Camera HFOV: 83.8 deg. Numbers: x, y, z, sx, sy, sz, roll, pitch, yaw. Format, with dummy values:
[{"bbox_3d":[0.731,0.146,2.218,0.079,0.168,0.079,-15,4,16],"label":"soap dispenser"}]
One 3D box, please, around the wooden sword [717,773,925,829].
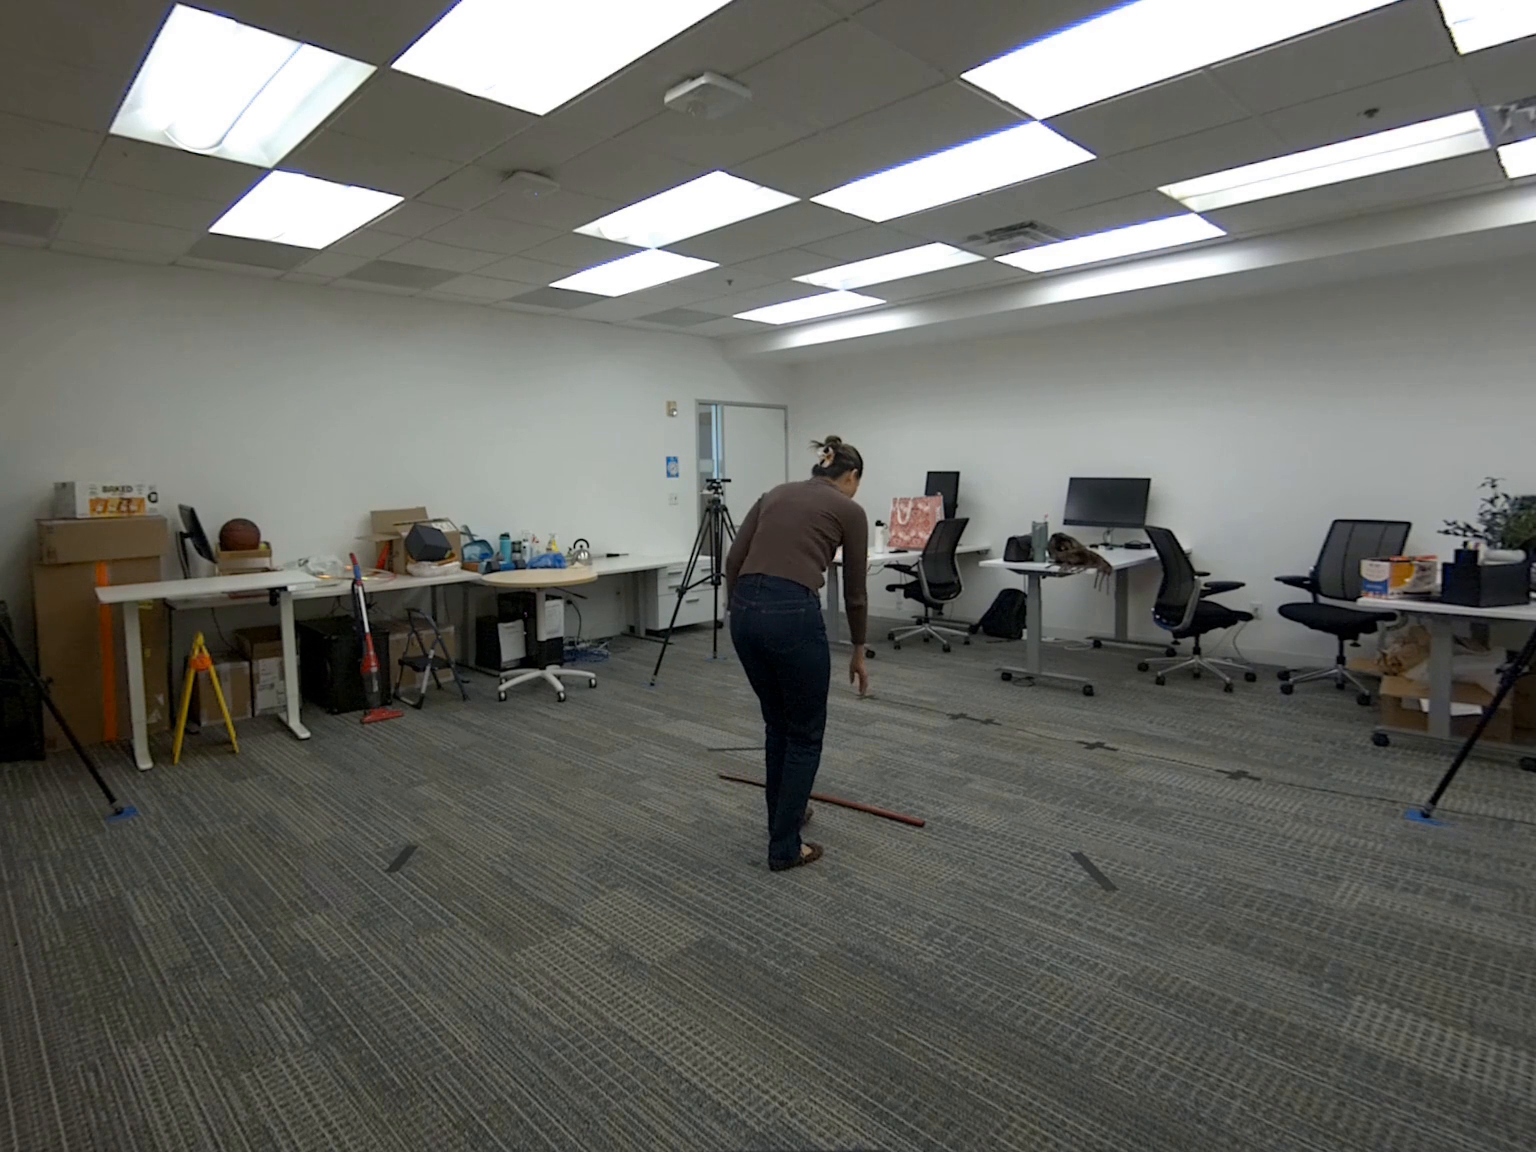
[{"bbox_3d":[0.205,0.951,3.705,1.054,0.024,0.050,3,4,36],"label":"wooden sword"}]
